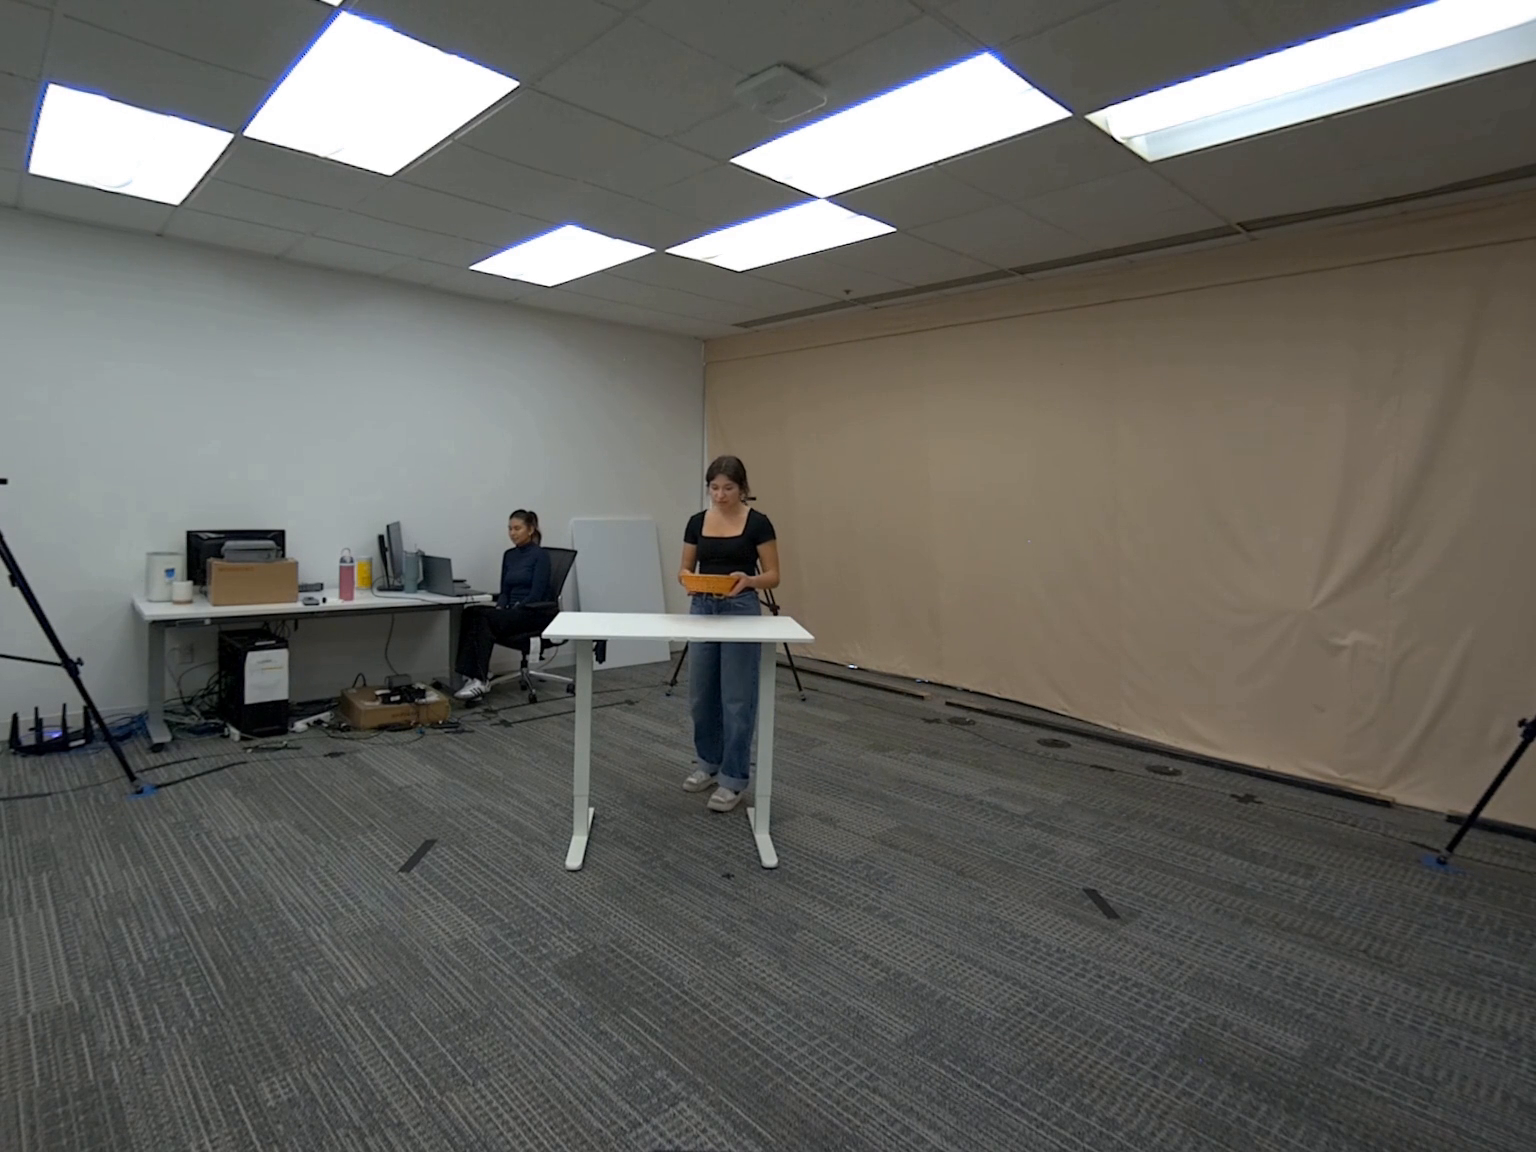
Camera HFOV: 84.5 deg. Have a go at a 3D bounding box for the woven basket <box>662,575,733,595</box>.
[{"bbox_3d":[-0.251,0.042,3.618,0.257,0.073,0.343,3,-1,27],"label":"woven basket"}]
